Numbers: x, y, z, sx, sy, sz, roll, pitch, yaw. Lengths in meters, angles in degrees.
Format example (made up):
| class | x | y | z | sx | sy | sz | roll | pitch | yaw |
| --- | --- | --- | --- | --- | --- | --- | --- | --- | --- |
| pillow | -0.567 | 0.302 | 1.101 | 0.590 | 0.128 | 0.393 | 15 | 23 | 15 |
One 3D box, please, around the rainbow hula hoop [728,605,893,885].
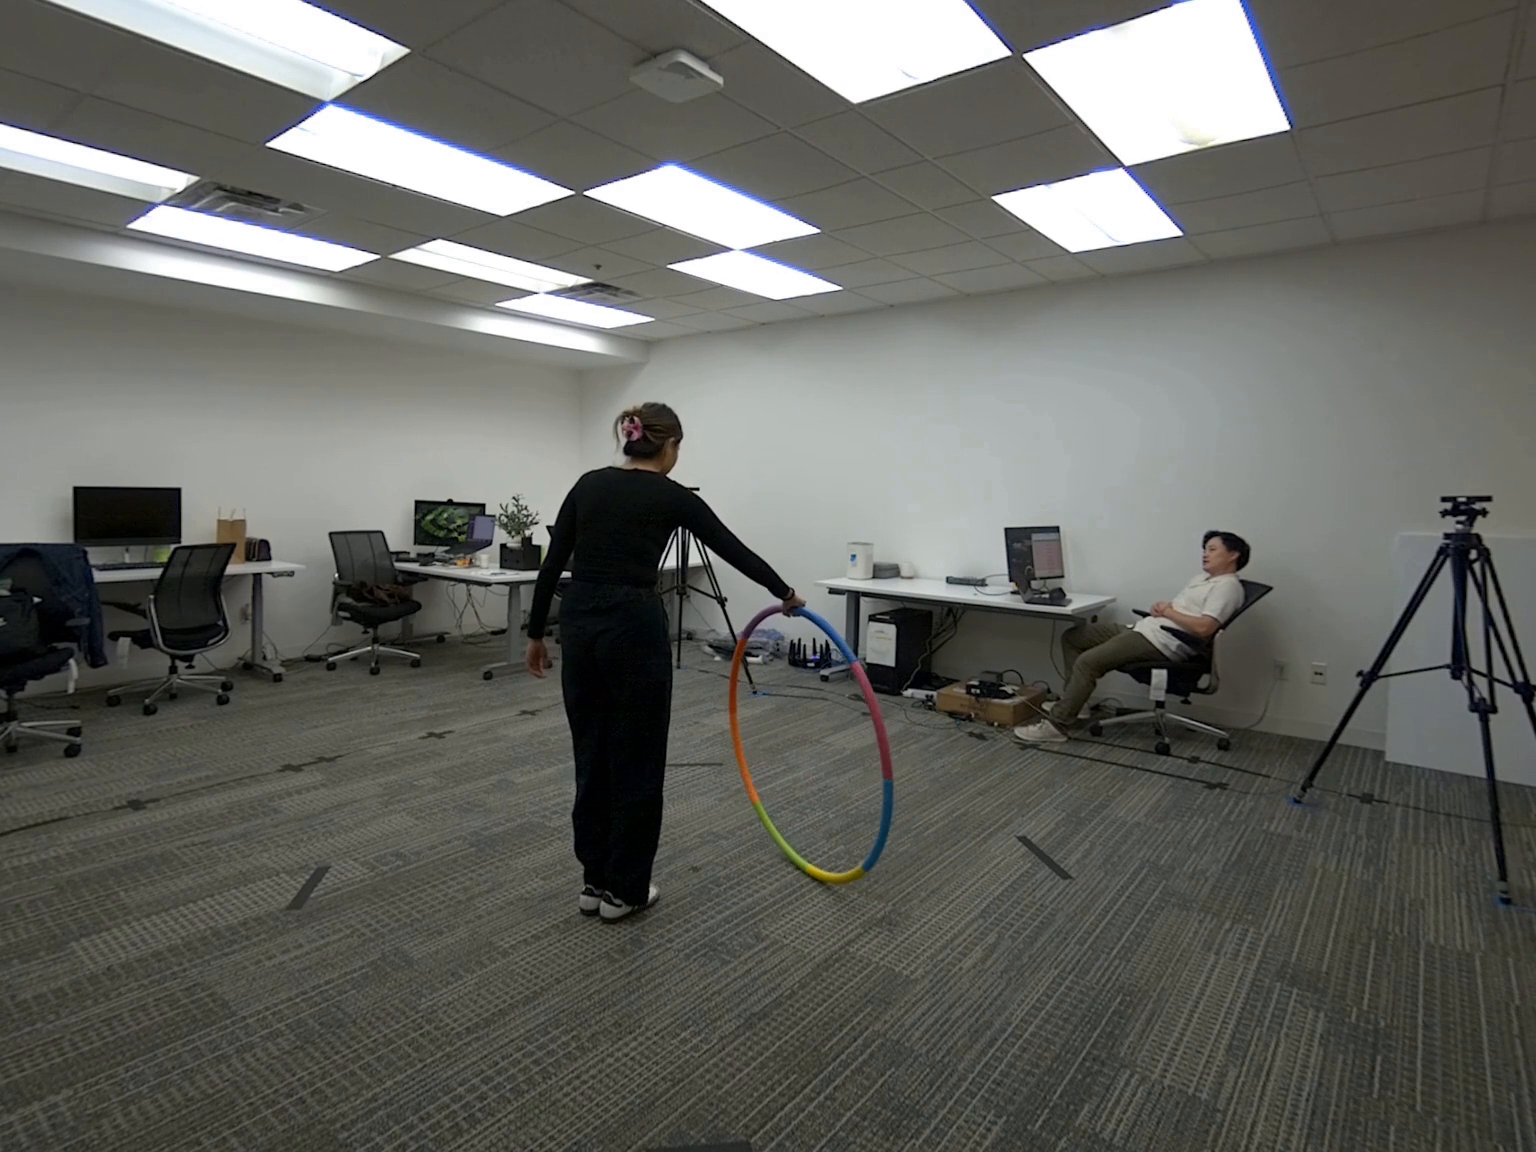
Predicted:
| class | x | y | z | sx | sy | sz | roll | pitch | yaw |
| --- | --- | --- | --- | --- | --- | --- | --- | --- | --- |
| rainbow hula hoop | 0.121 | 0.587 | 3.057 | 0.035 | 0.972 | 1.009 | -8 | 8 | -31 |
